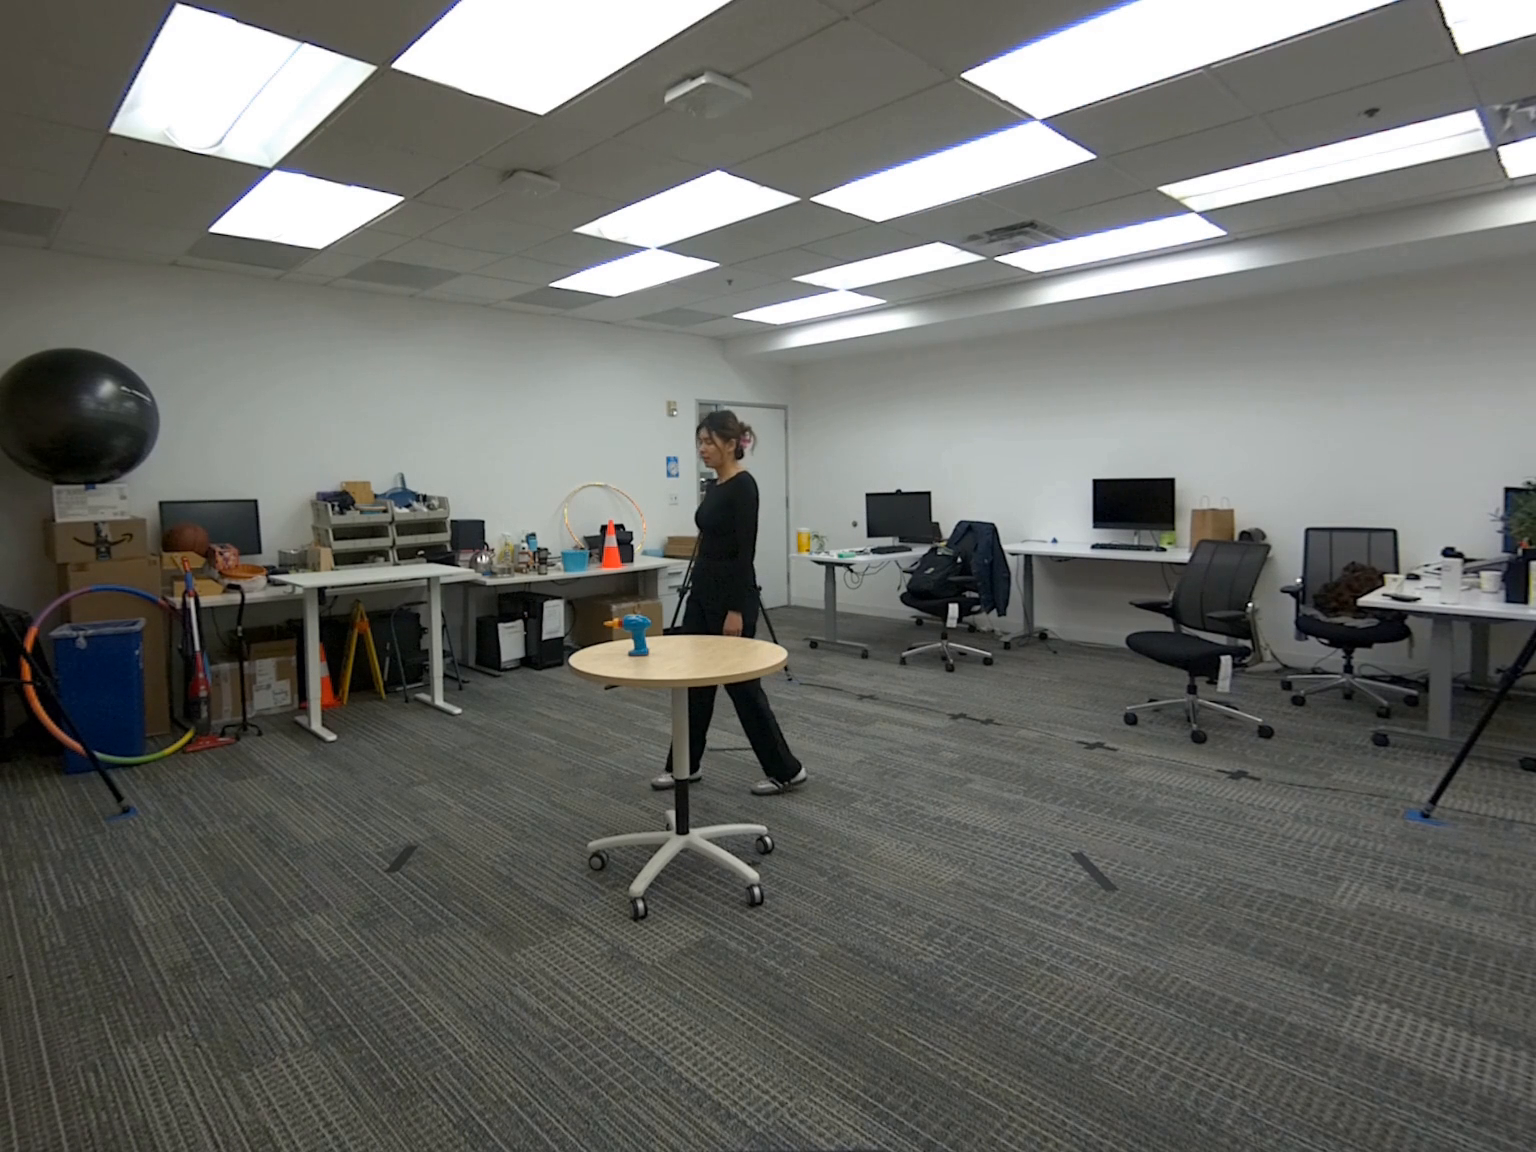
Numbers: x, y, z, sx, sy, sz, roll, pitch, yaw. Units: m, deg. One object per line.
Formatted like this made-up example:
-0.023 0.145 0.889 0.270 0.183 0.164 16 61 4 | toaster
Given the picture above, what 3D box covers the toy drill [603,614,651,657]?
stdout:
-0.497 0.206 3.016 0.170 0.146 0.061 1 1 1 | toy drill
